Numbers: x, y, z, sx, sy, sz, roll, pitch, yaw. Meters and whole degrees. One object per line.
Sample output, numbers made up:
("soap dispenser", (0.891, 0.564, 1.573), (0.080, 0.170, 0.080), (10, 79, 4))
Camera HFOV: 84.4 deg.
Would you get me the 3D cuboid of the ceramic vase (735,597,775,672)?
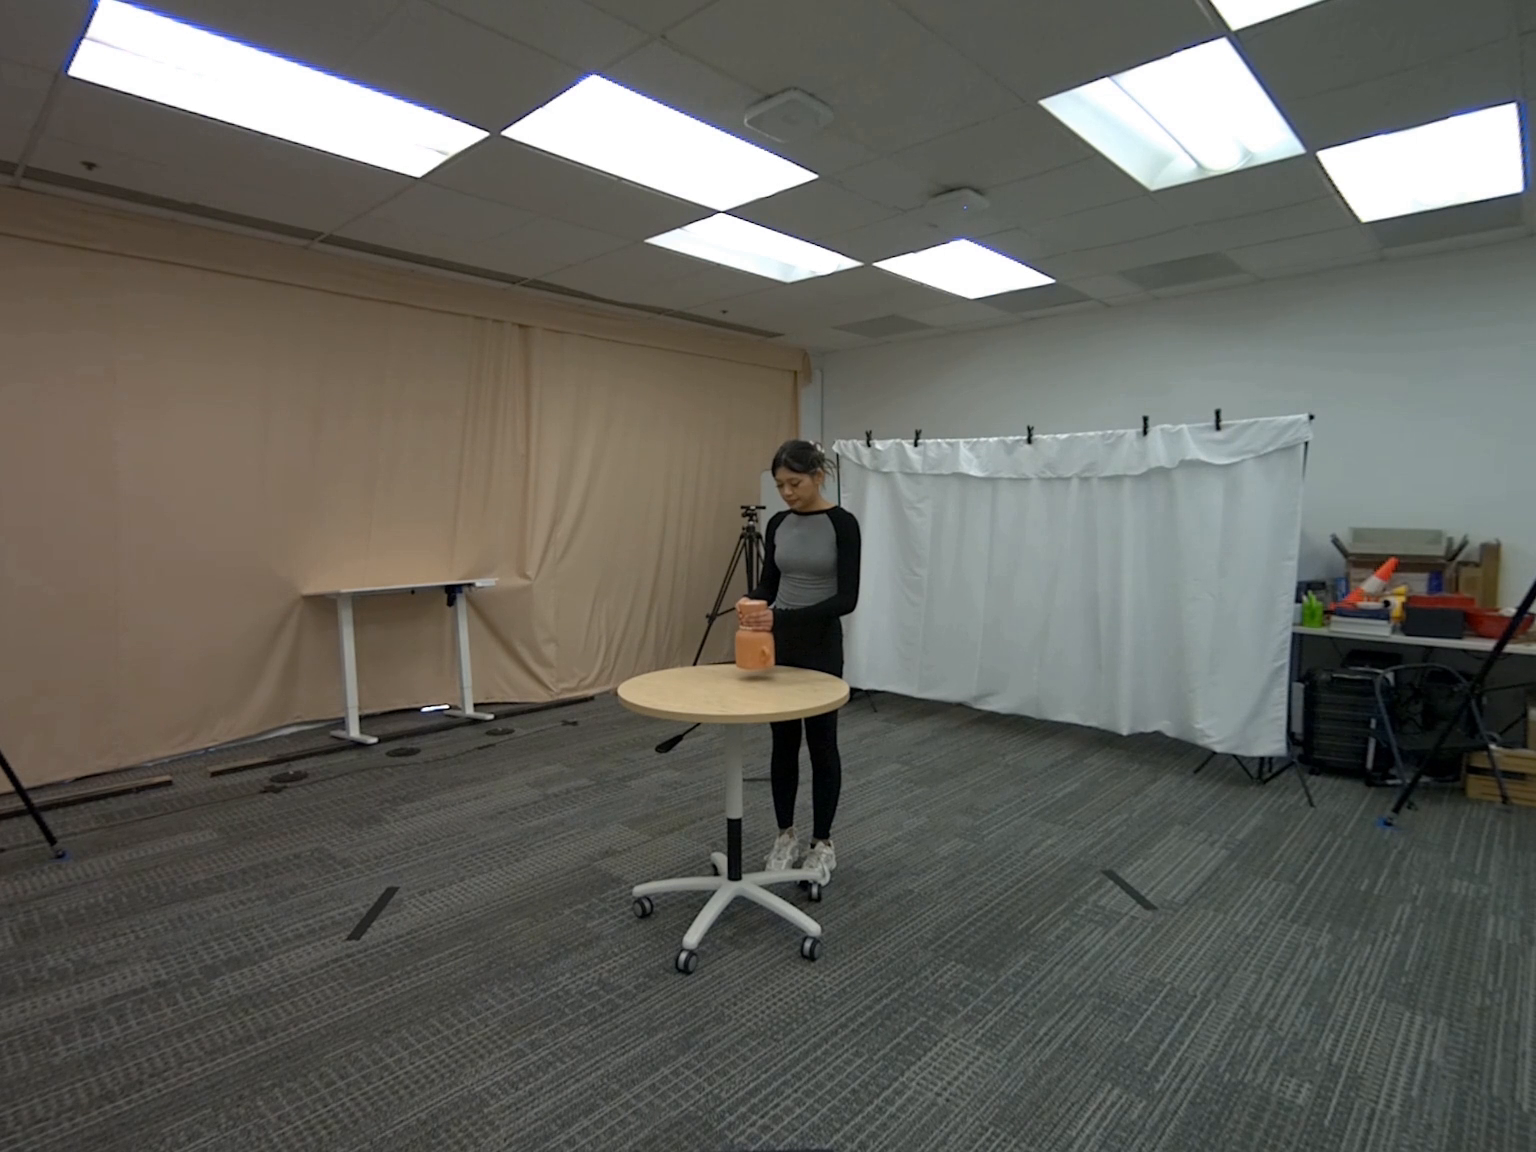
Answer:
("ceramic vase", (-0.046, 0.197, 2.899), (0.163, 0.219, 0.131), (5, 6, 25))
